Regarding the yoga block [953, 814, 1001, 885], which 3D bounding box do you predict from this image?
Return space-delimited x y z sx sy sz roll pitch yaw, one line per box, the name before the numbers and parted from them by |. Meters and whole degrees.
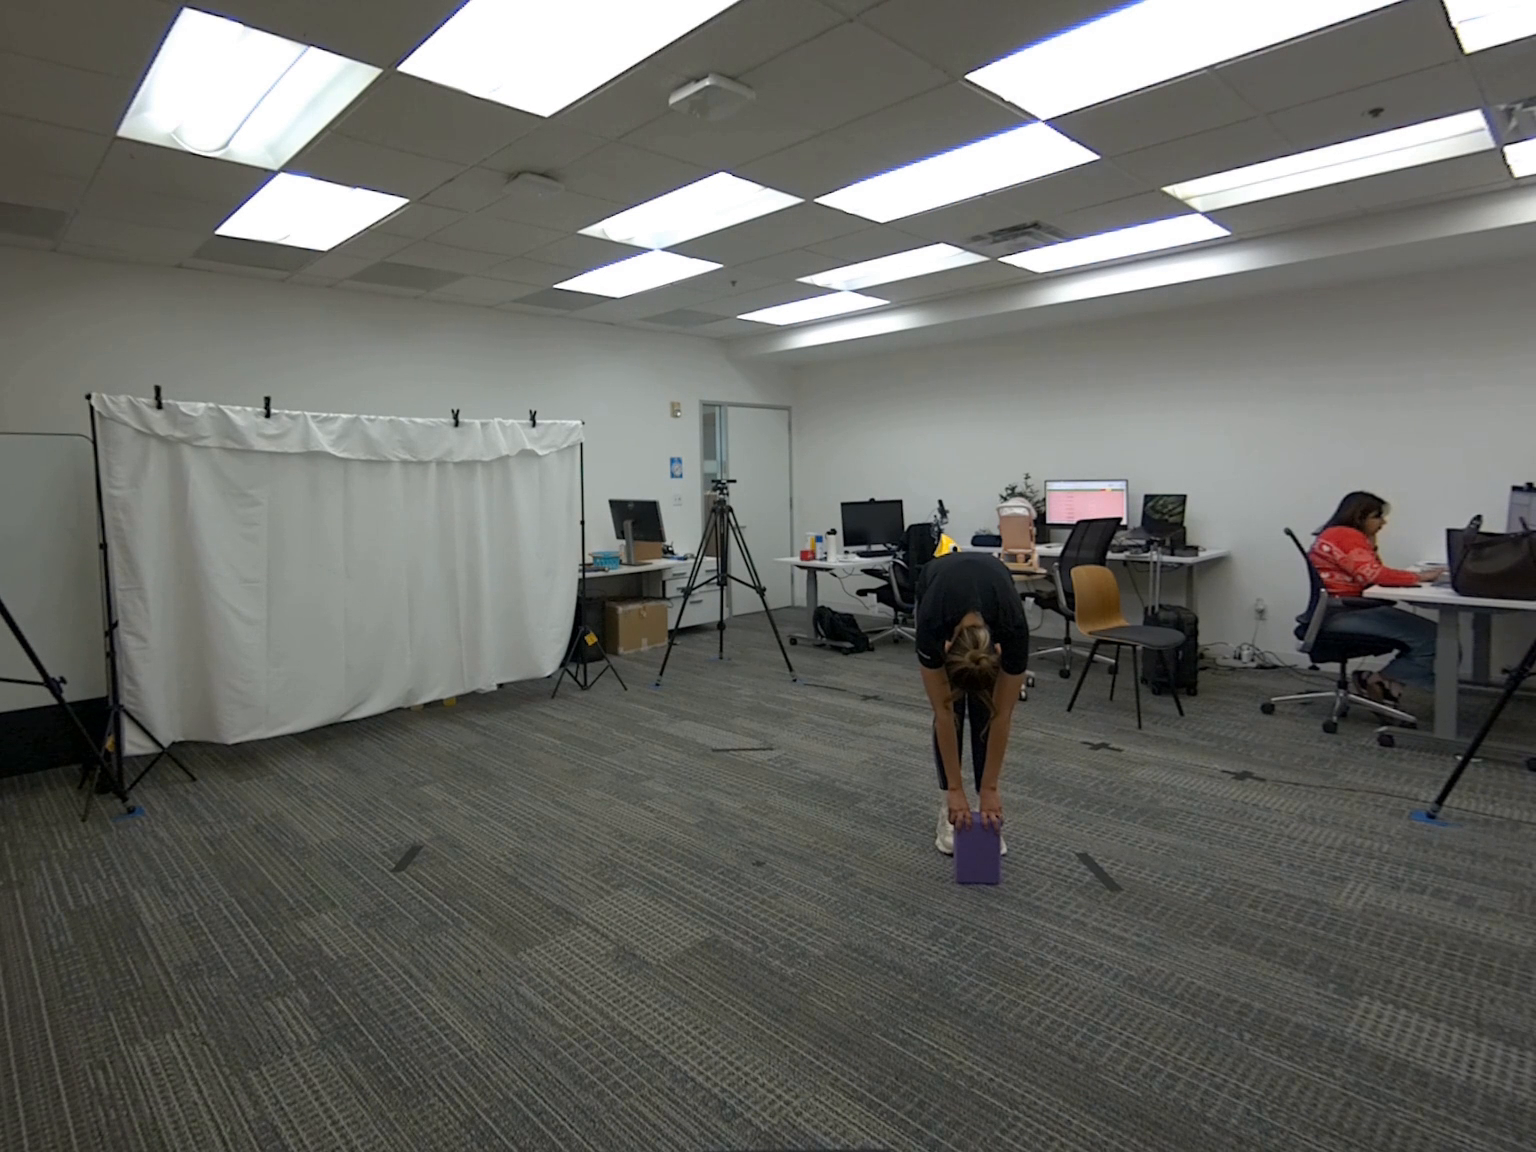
yoga block | 0.724 0.944 2.944 0.150 0.229 0.076 -2 3 5
